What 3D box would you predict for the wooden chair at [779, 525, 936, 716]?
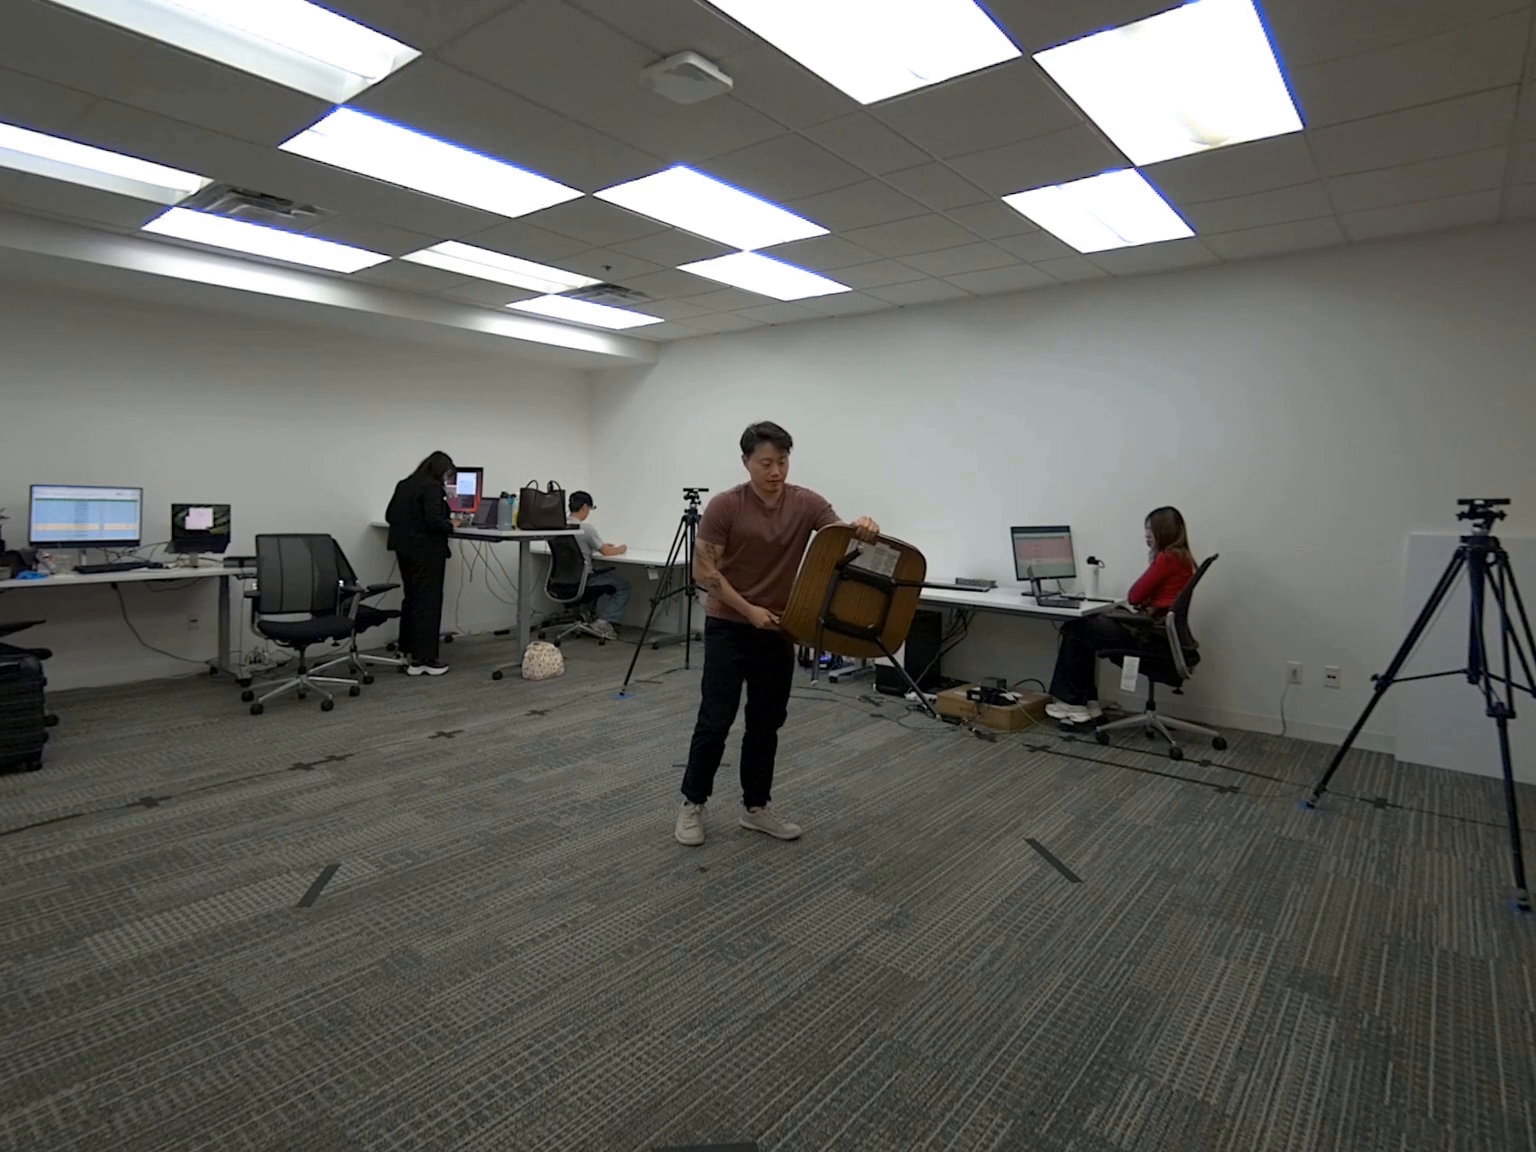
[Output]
[{"bbox_3d":[0.323,0.096,3.069,0.473,0.523,0.888,17,1,-10],"label":"wooden chair"}]
